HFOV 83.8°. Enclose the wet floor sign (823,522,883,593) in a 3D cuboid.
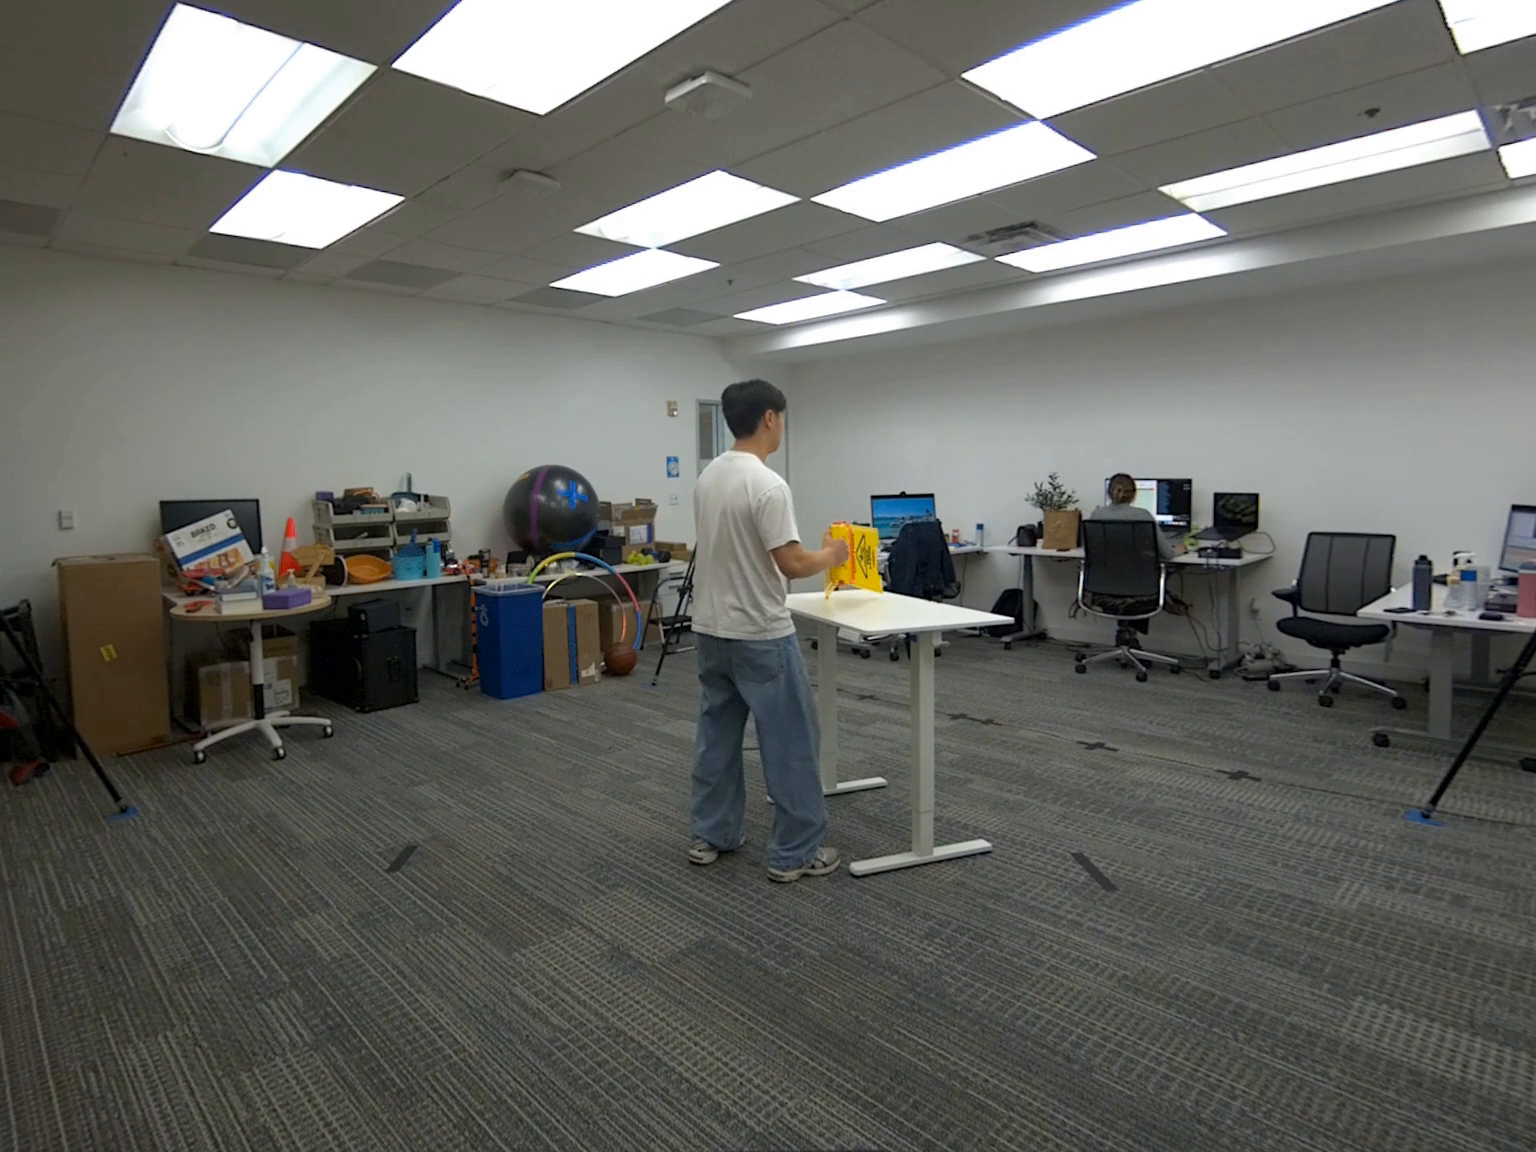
[{"bbox_3d":[0.304,-0.067,3.375,0.293,0.284,0.635,-3,-4,11],"label":"wet floor sign"}]
